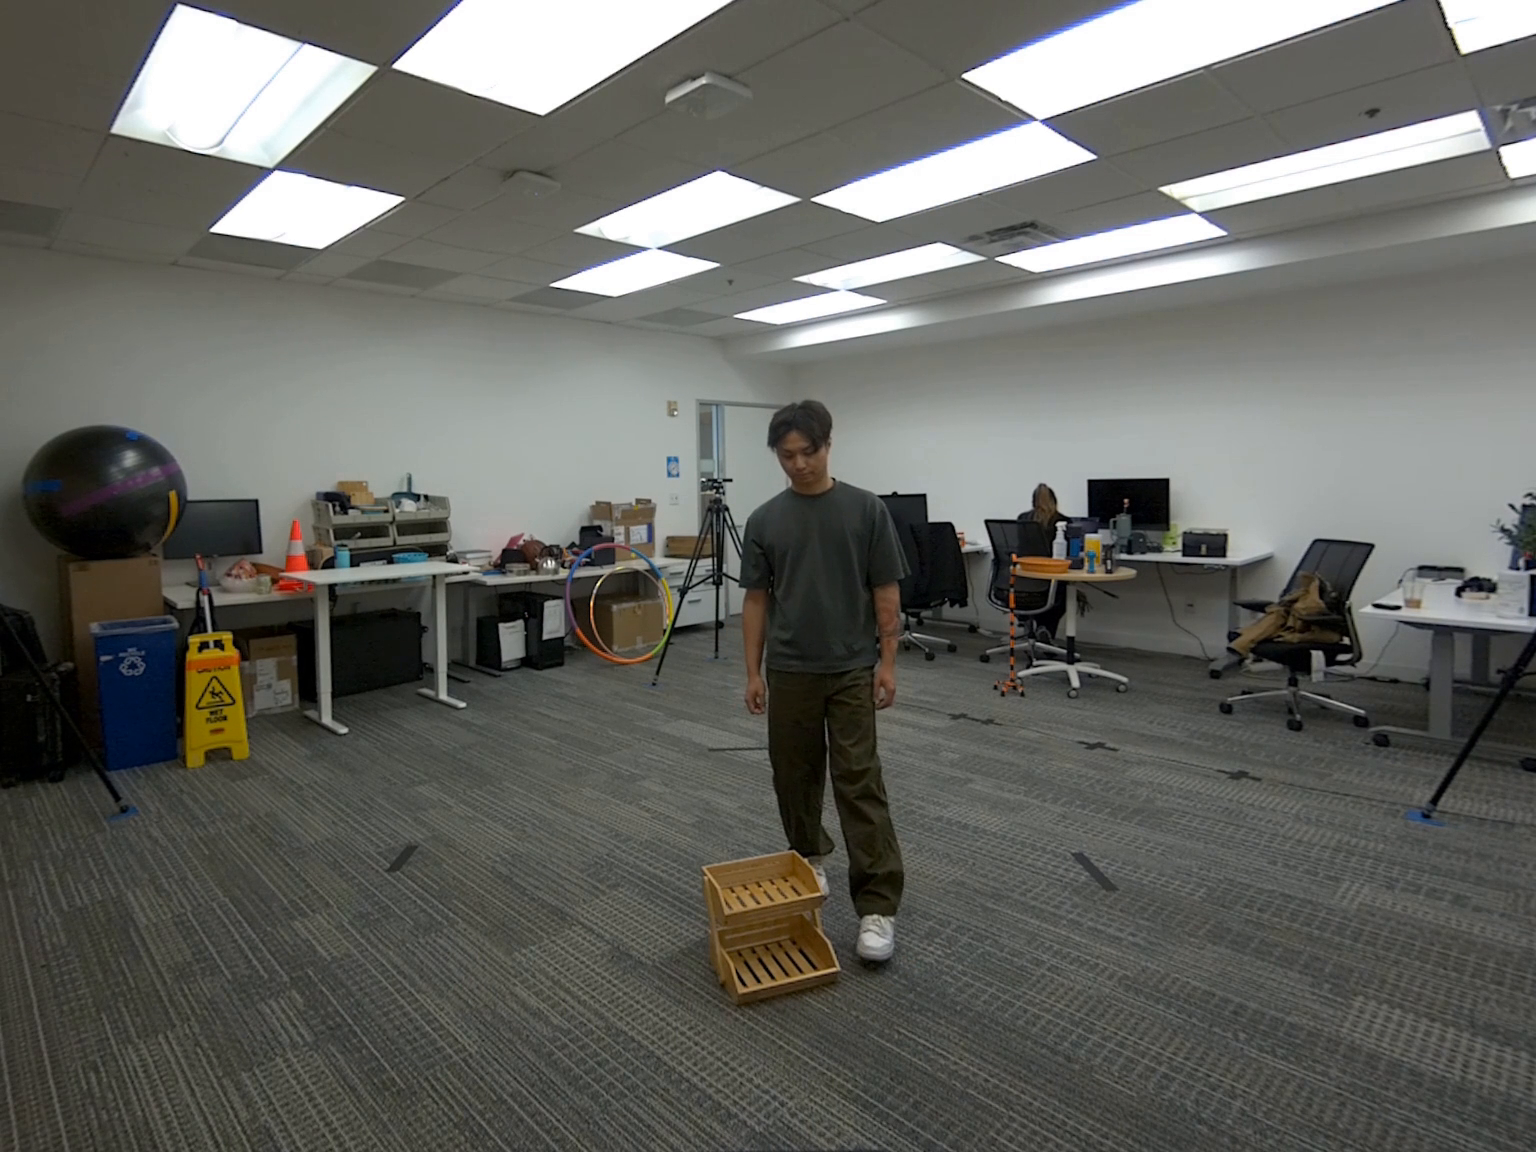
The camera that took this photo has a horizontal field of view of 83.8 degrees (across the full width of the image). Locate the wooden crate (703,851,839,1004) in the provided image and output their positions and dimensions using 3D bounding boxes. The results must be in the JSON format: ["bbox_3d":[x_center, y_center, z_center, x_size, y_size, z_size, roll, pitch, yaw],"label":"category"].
[{"bbox_3d":[0.013,0.993,2.428,0.319,0.272,0.309,-3,7,-21],"label":"wooden crate"}]
